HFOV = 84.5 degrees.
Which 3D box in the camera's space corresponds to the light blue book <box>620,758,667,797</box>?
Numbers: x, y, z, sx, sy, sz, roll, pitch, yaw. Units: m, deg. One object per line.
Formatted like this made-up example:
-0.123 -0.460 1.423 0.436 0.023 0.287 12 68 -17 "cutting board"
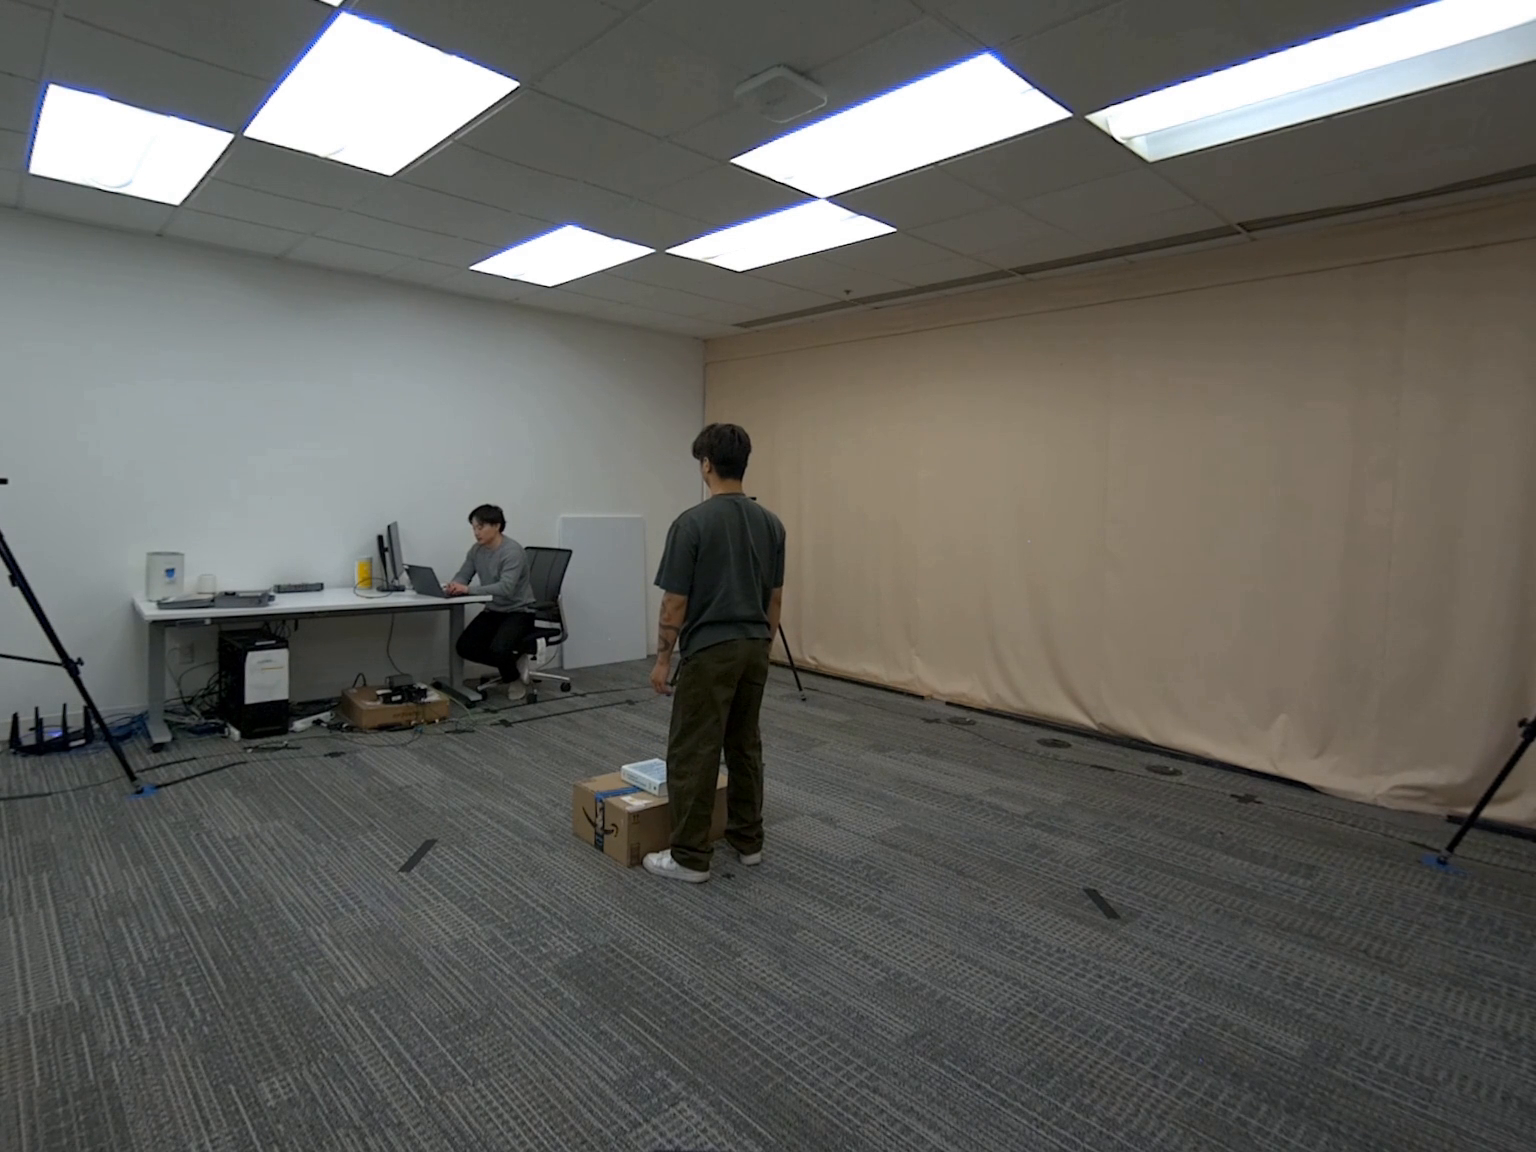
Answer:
-0.461 0.827 3.477 0.187 0.059 0.268 -2 6 -43 "light blue book"
